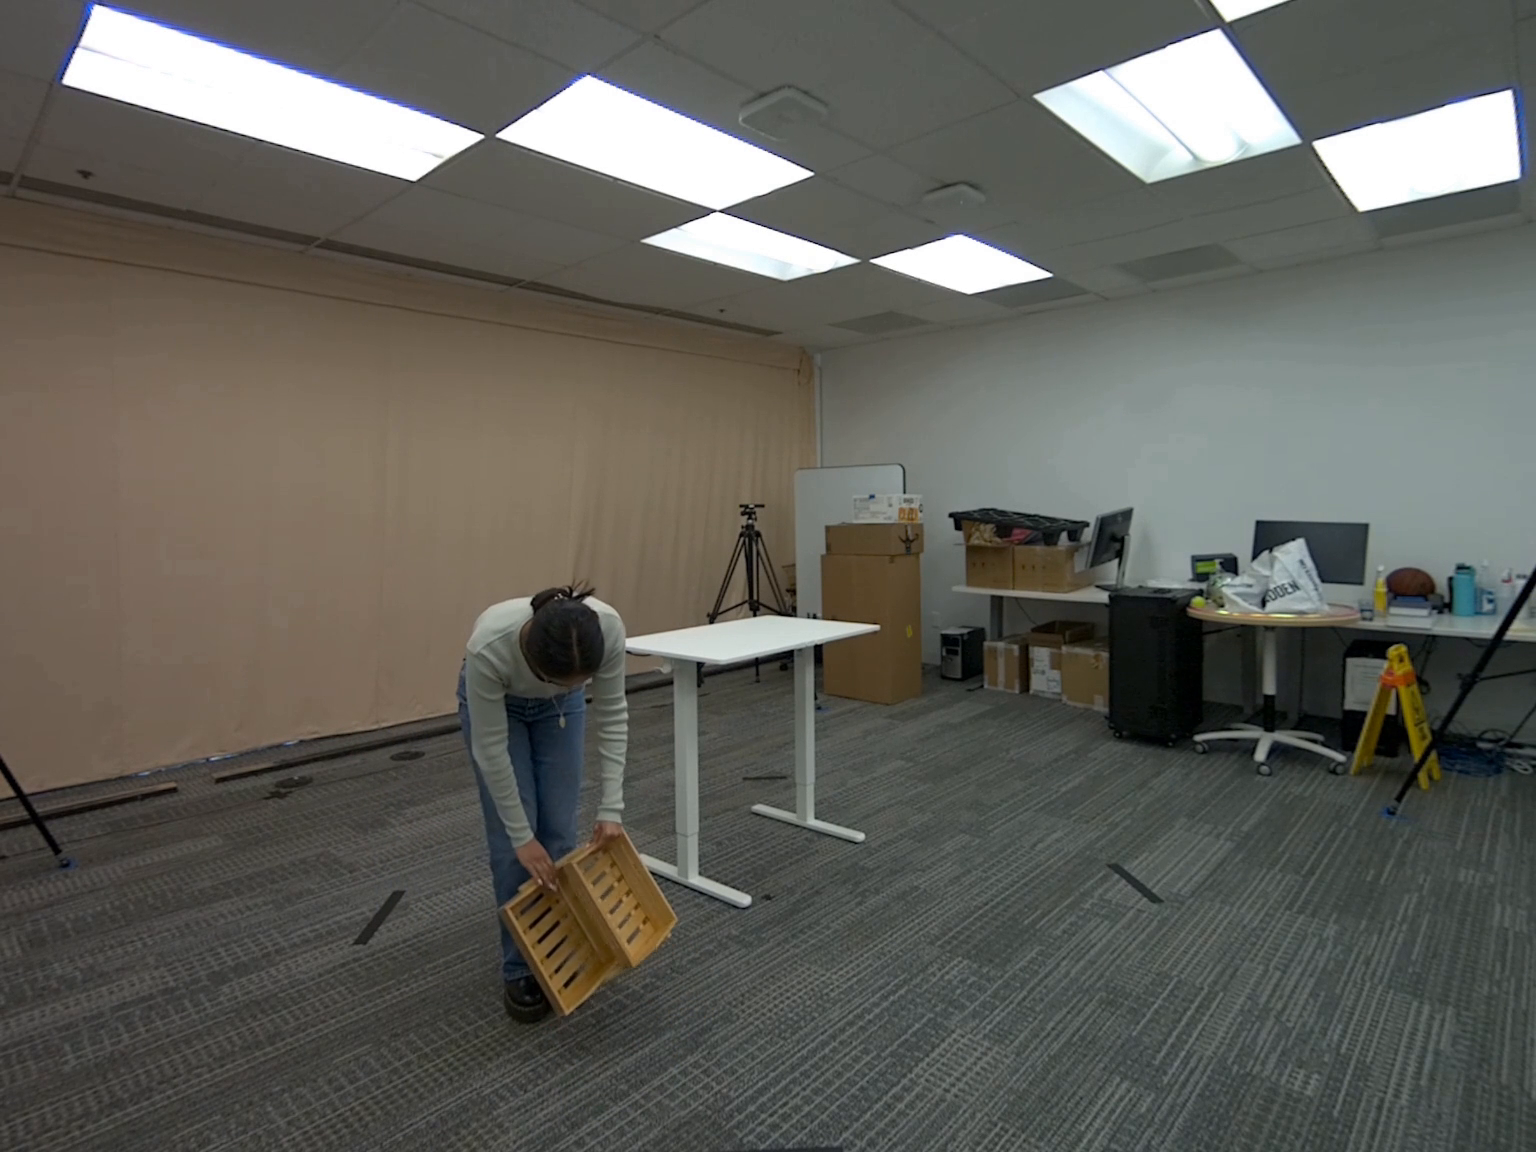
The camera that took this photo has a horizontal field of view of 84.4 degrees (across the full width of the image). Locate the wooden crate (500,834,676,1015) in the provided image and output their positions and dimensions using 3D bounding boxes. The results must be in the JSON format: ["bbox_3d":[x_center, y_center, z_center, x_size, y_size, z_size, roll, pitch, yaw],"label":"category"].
[{"bbox_3d":[-0.459,0.896,2.191,0.276,0.327,0.297,-35,-5,17],"label":"wooden crate"}]
